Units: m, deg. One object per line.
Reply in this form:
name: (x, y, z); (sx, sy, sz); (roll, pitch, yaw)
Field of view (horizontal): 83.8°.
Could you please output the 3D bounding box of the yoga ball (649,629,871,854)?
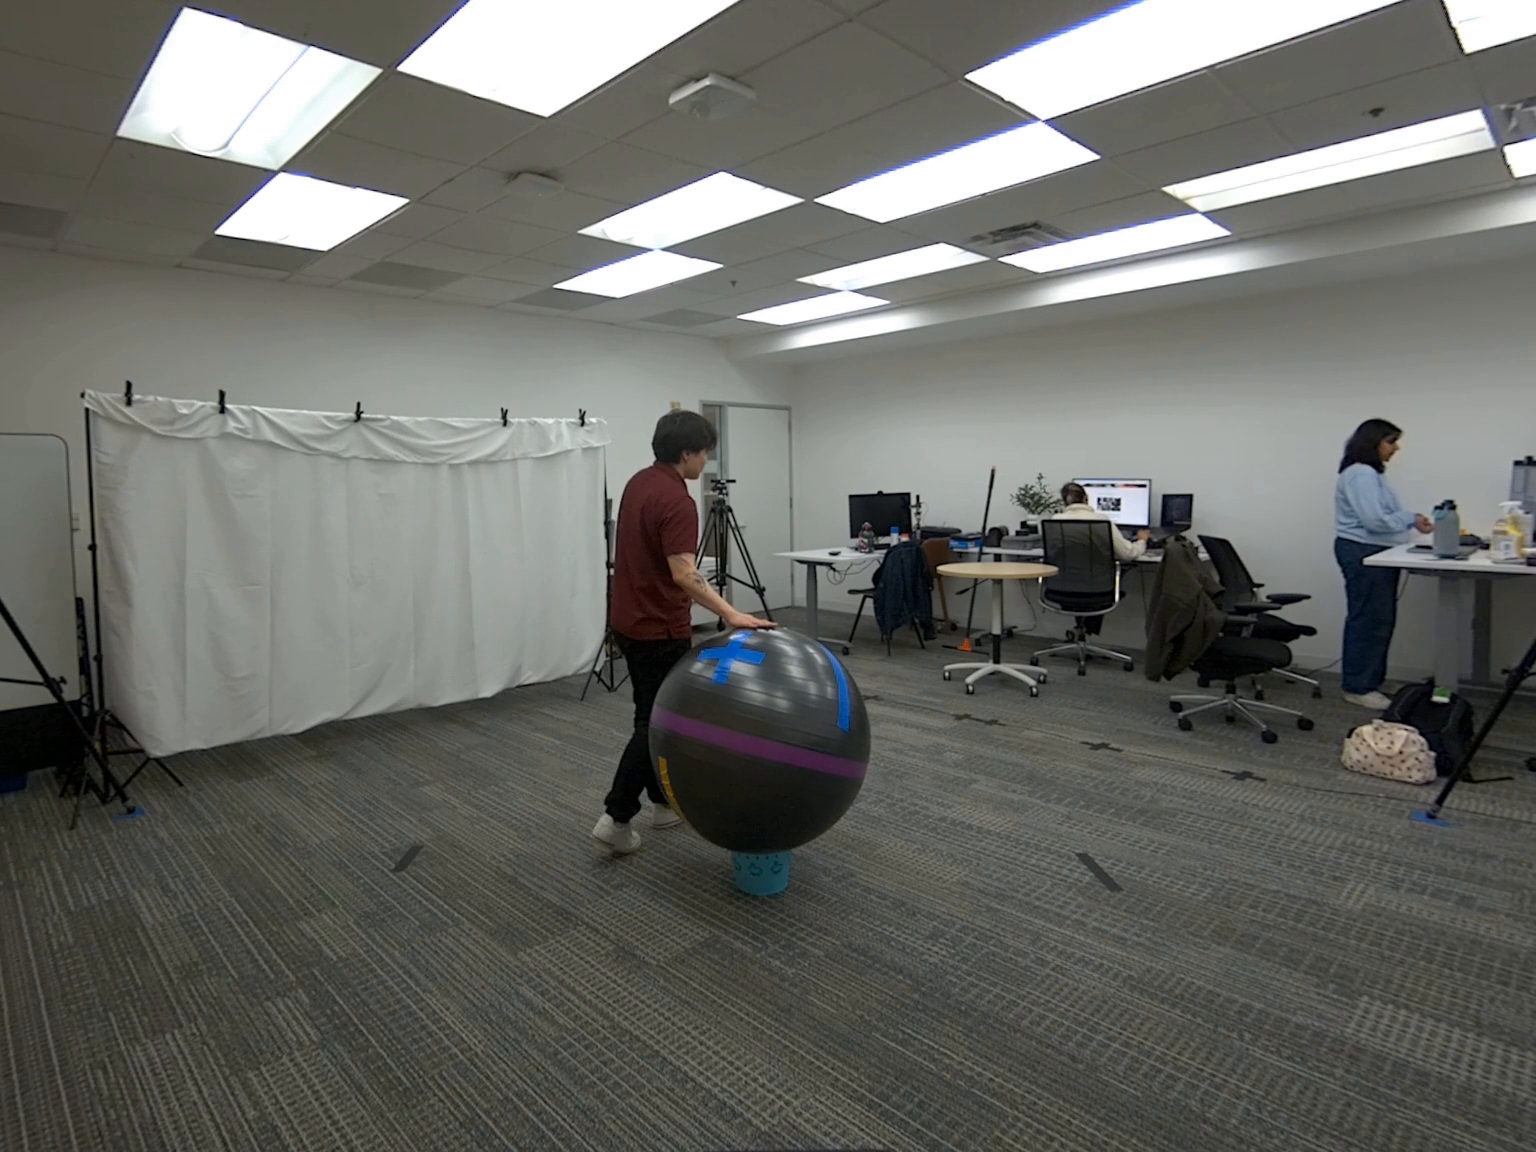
yoga ball: (-0.025, 0.554, 2.945); (0.757, 0.755, 0.762); (-1, 5, -2)
